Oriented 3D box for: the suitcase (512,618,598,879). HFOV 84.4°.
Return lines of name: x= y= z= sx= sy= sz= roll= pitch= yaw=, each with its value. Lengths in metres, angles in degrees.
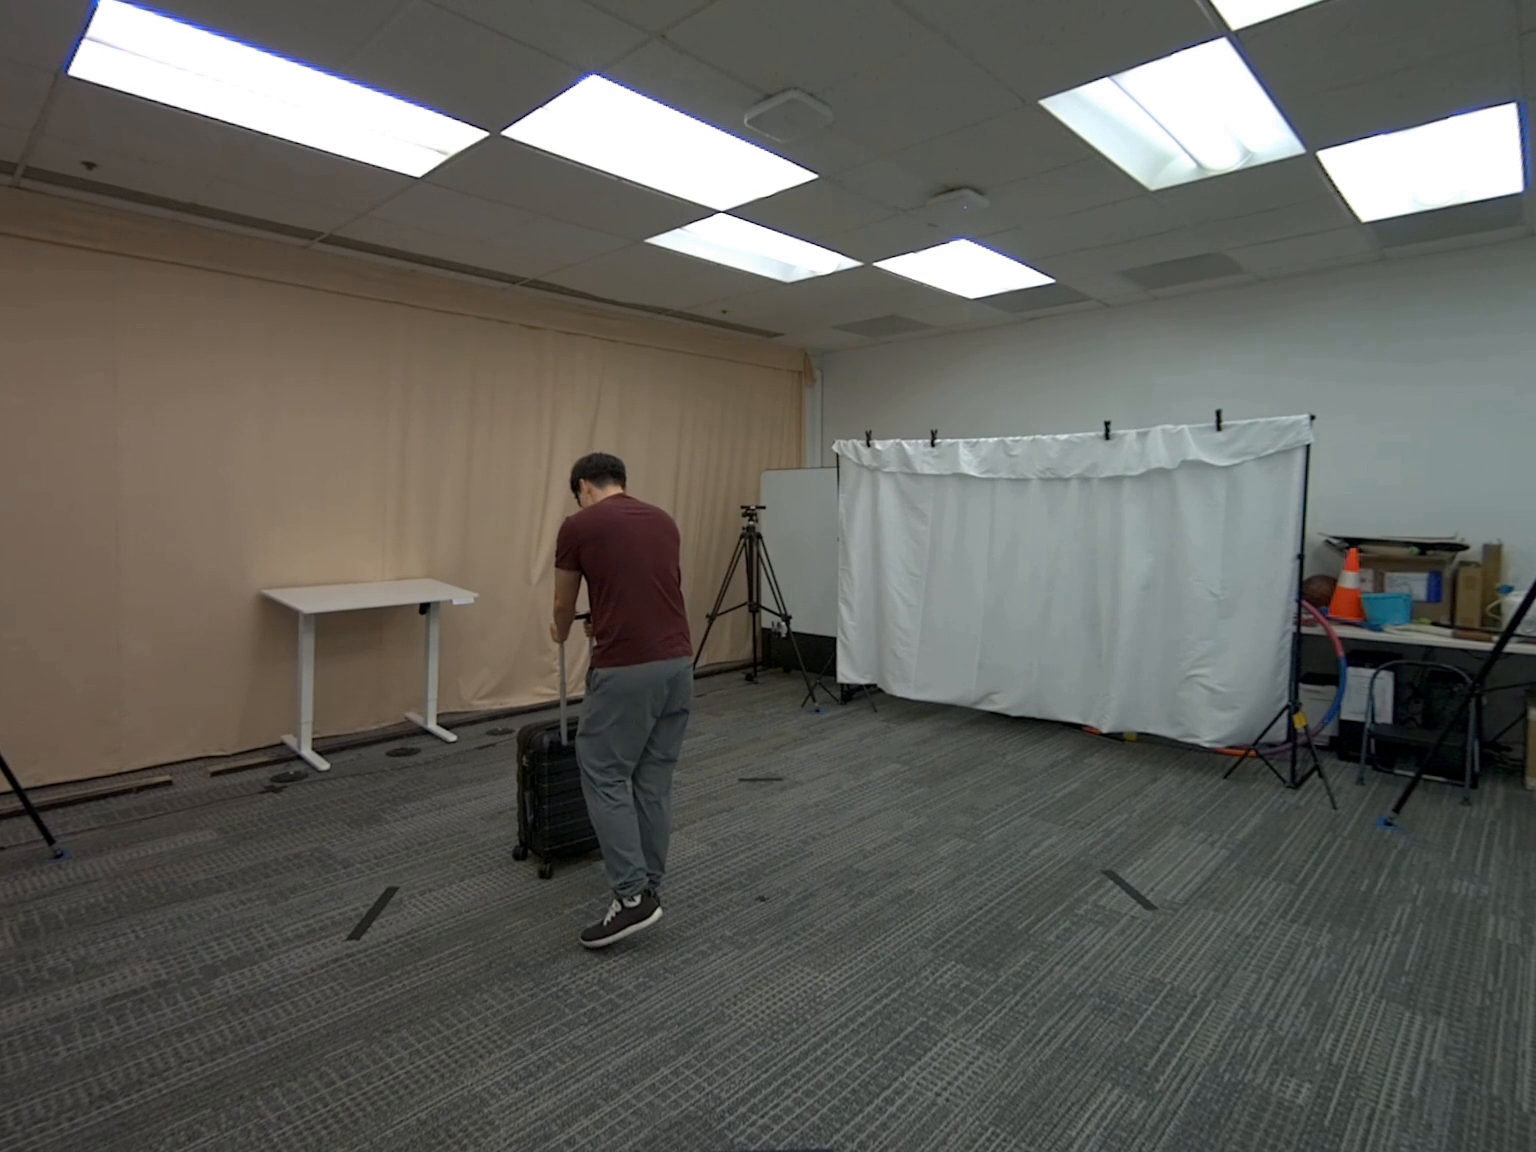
suitcase: x=-0.815 y=0.646 z=3.361 sx=0.372 sy=0.979 sz=0.265 roll=0 pitch=-1 yaw=-40
